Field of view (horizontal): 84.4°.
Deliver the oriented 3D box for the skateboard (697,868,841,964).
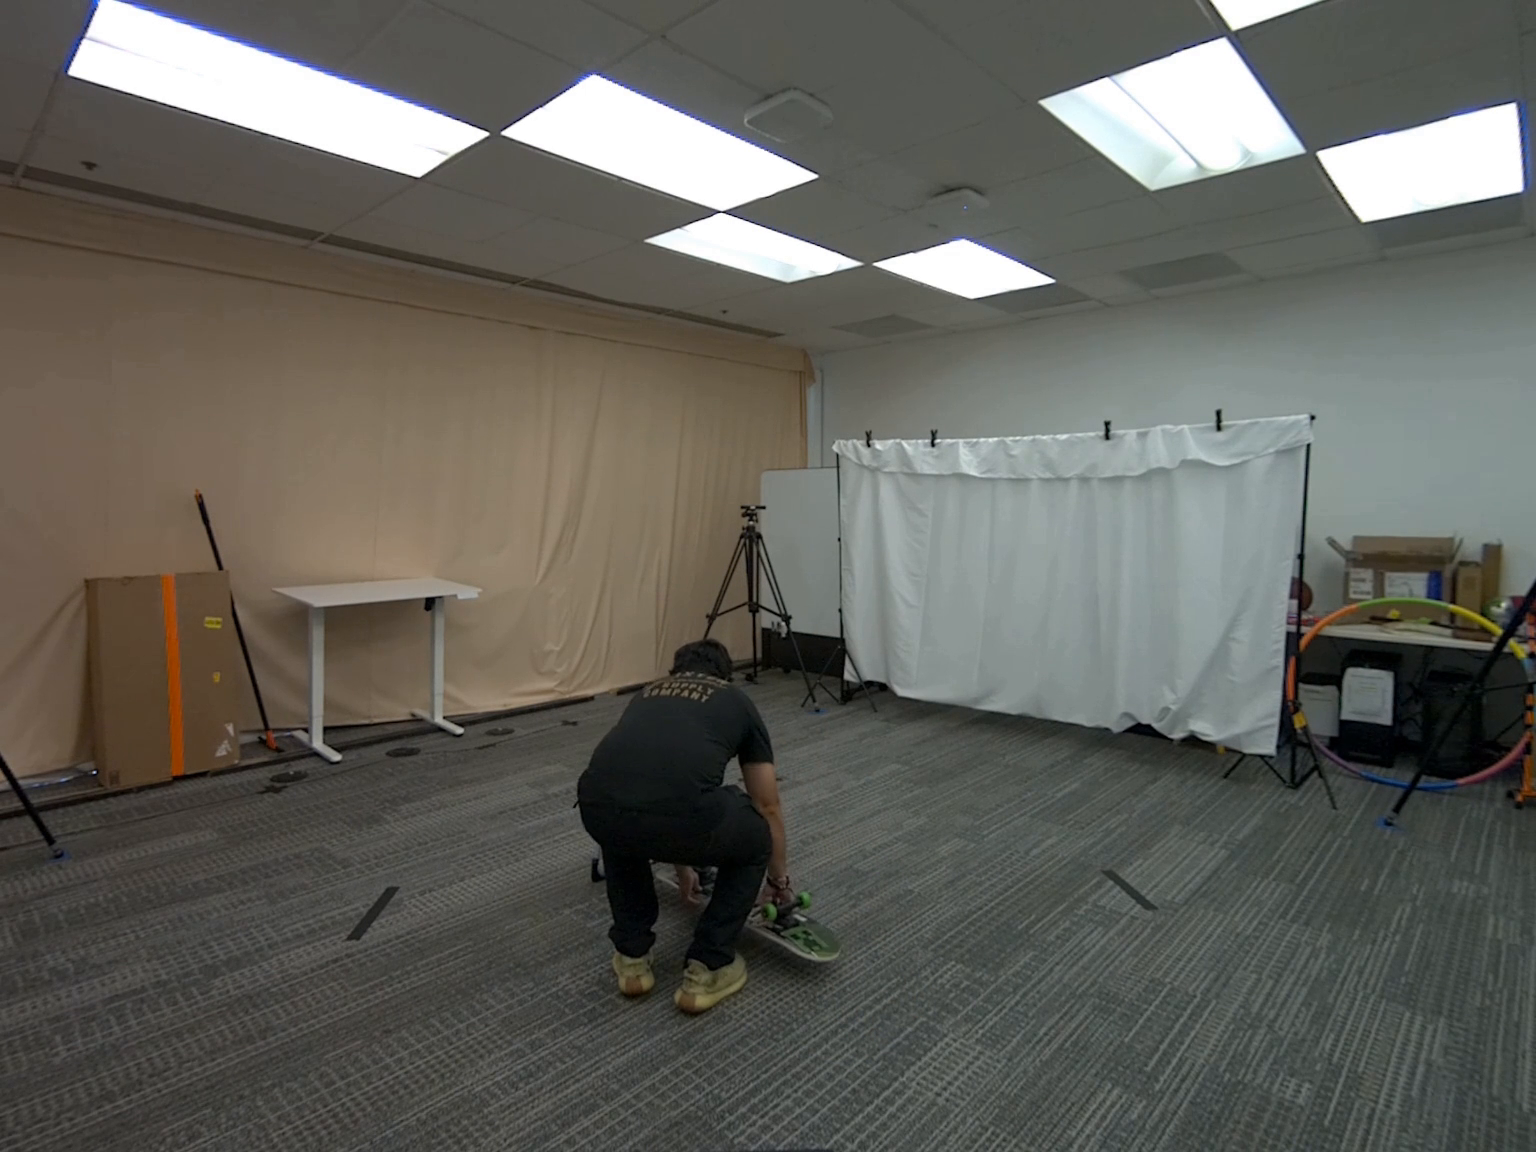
[{"bbox_3d":[-0.084,1.038,2.739,0.187,0.110,0.812,-2,6,-44],"label":"skateboard"}]
